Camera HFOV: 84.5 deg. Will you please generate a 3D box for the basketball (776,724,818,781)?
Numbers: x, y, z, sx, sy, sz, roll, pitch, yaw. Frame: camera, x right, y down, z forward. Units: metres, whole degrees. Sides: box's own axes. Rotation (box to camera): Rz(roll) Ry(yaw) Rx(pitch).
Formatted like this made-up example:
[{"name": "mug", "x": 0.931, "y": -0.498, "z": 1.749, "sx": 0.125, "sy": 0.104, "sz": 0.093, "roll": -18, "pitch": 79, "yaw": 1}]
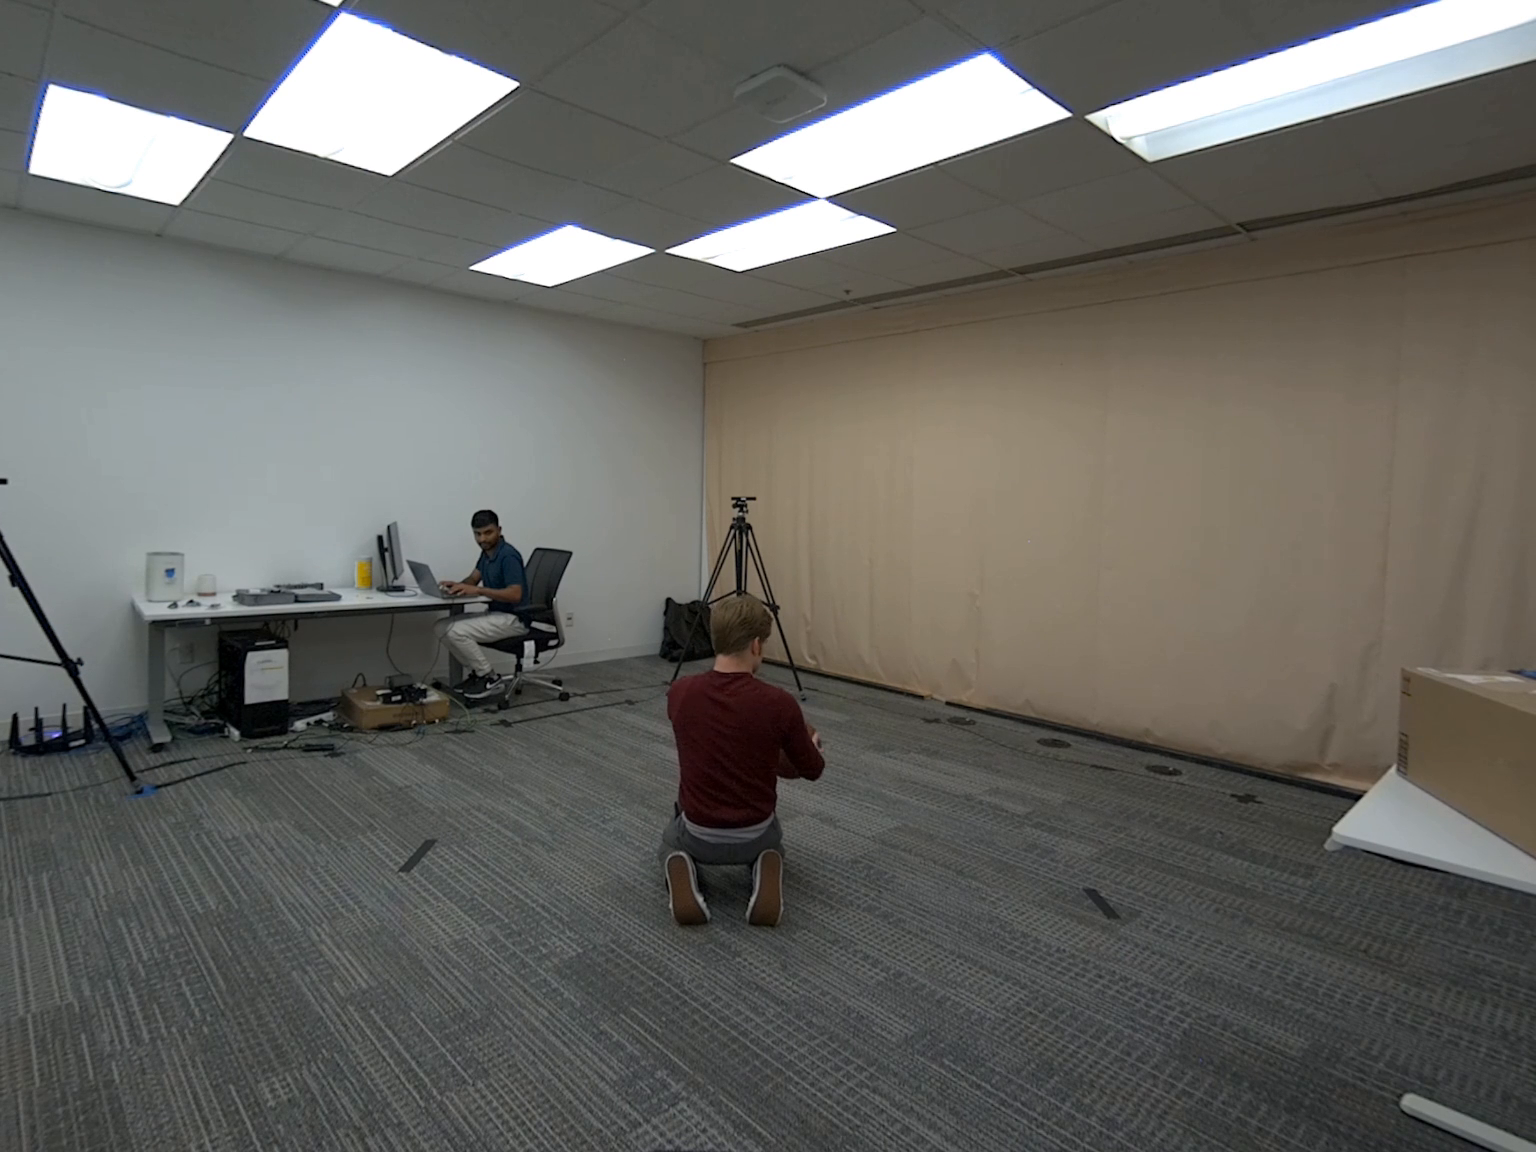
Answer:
[{"name": "basketball", "x": 0.077, "y": 0.679, "z": 3.286, "sx": 0.236, "sy": 0.235, "sz": 0.237, "roll": 1, "pitch": 4, "yaw": -1}]
